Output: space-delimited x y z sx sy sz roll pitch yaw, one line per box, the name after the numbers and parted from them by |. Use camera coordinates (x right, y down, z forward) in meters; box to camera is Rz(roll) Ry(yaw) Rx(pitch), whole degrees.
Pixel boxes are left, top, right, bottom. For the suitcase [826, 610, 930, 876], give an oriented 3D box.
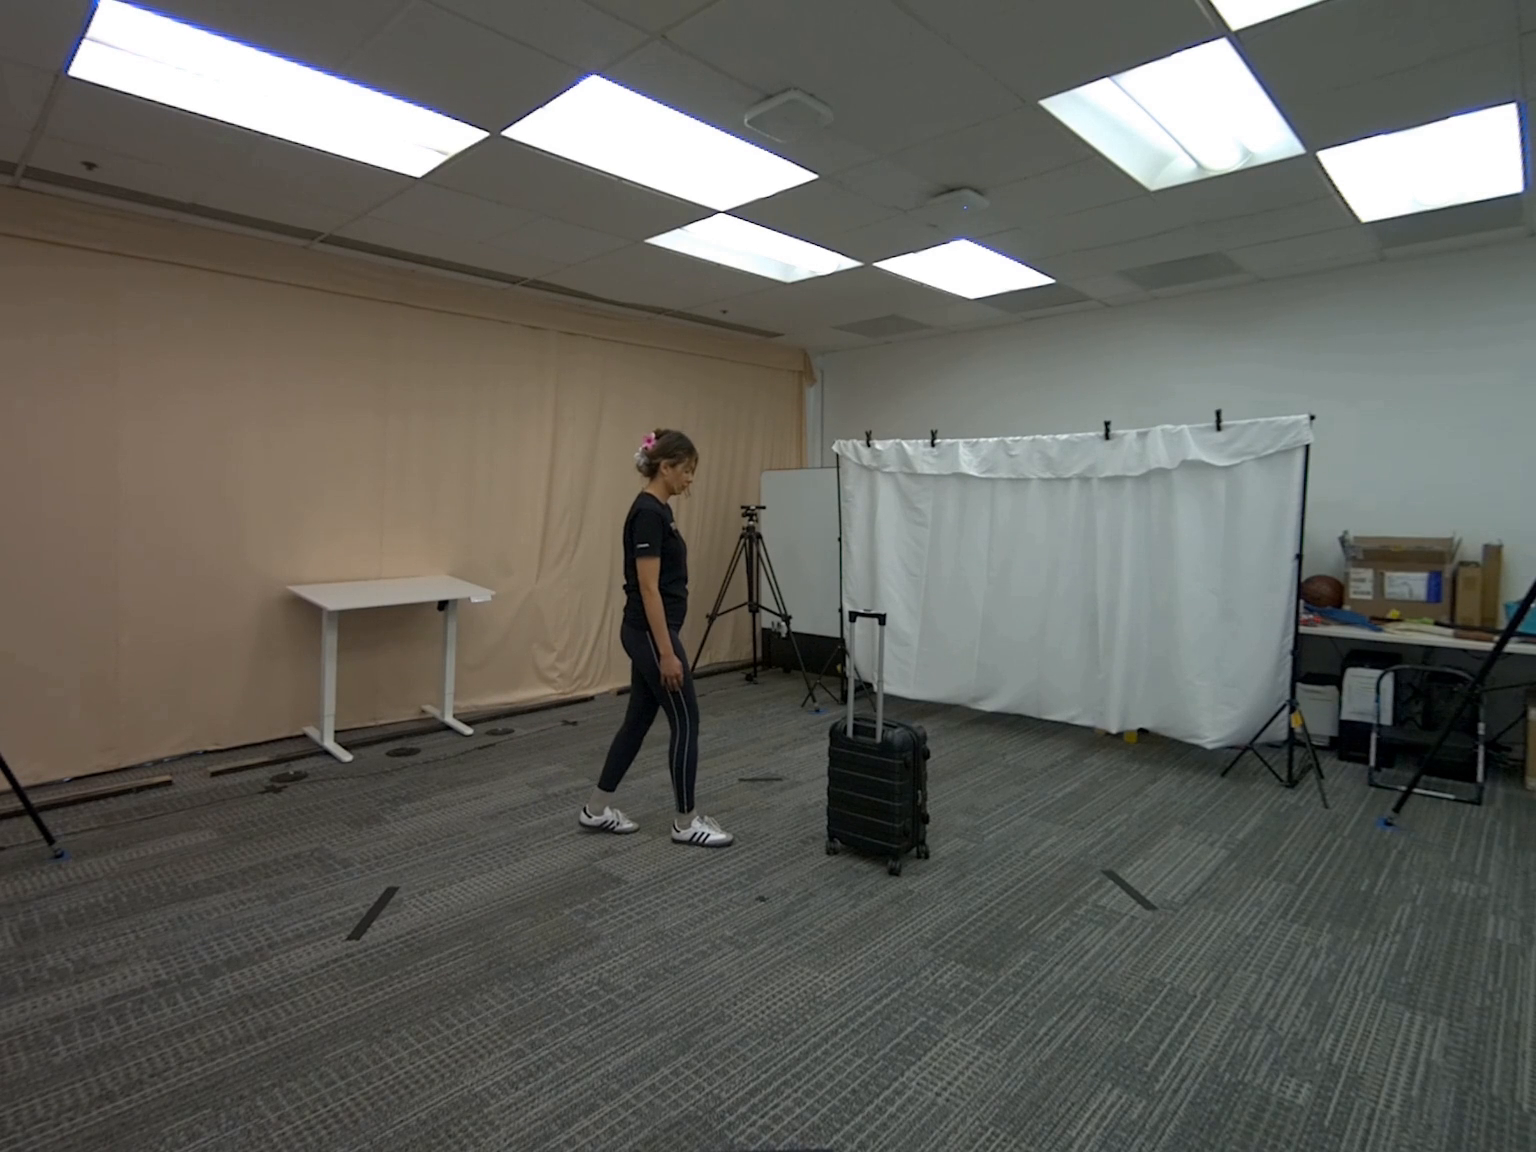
0.445 0.636 3.363 0.396 0.979 0.249 1 -1 40 | suitcase
